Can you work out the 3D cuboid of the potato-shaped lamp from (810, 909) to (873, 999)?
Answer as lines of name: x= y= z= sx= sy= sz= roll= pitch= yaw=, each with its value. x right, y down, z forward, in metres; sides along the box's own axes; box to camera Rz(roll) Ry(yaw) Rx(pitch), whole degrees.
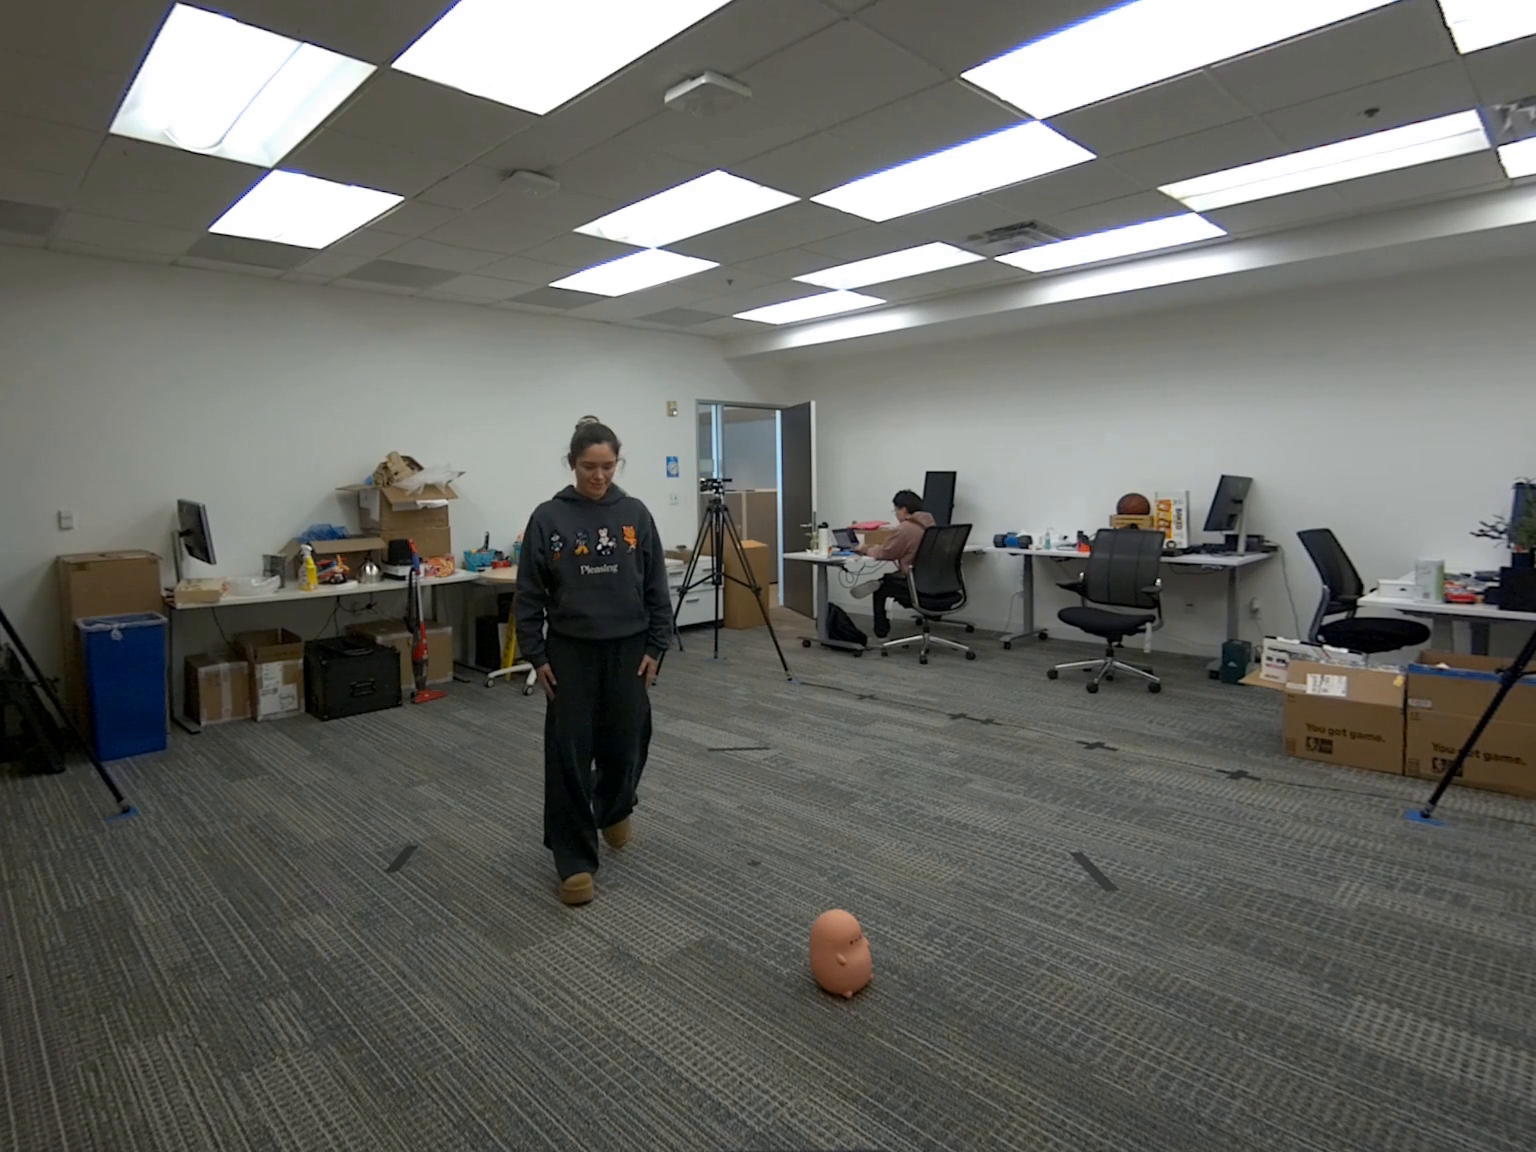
potato-shaped lamp: x=0.205 y=1.031 z=2.343 sx=0.160 sy=0.197 sz=0.177 roll=-8 pitch=9 yaw=-43
